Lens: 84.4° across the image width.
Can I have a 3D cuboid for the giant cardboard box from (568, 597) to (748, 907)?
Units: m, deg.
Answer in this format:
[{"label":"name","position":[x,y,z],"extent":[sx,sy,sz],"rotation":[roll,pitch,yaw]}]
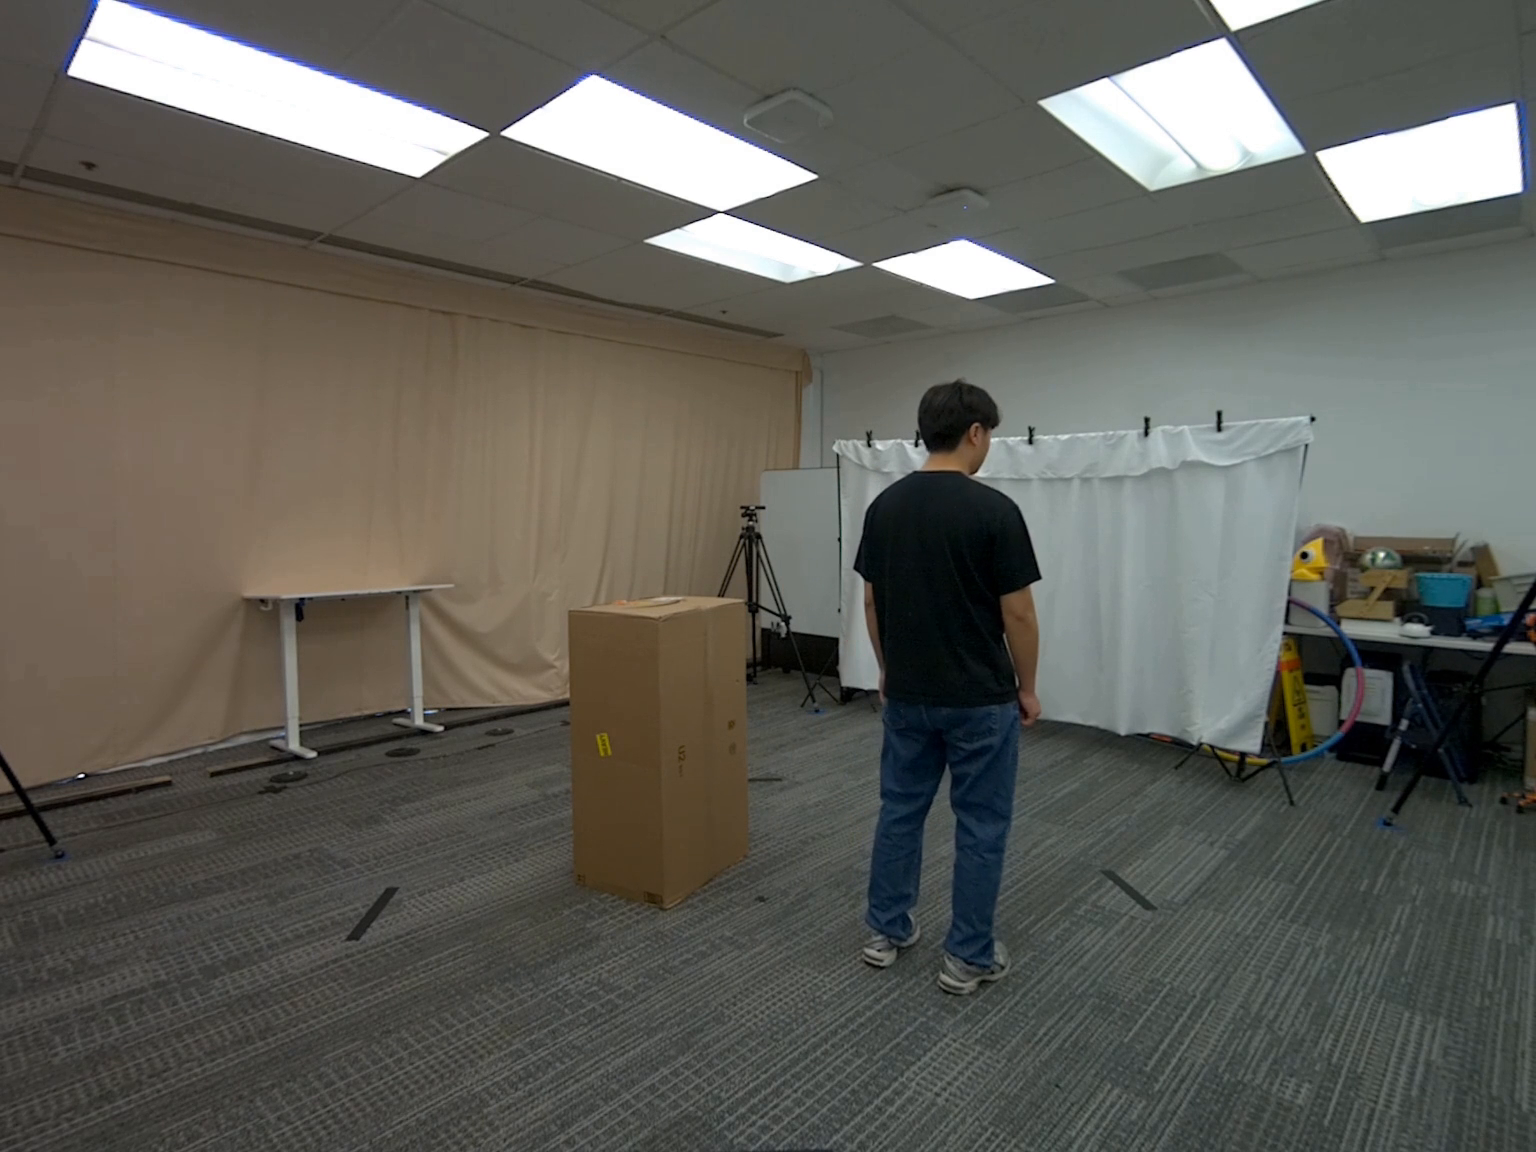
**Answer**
[{"label":"giant cardboard box","position":[-0.405,0.615,3.227],"extent":[0.460,1.025,0.568],"rotation":[0,3,32]}]
